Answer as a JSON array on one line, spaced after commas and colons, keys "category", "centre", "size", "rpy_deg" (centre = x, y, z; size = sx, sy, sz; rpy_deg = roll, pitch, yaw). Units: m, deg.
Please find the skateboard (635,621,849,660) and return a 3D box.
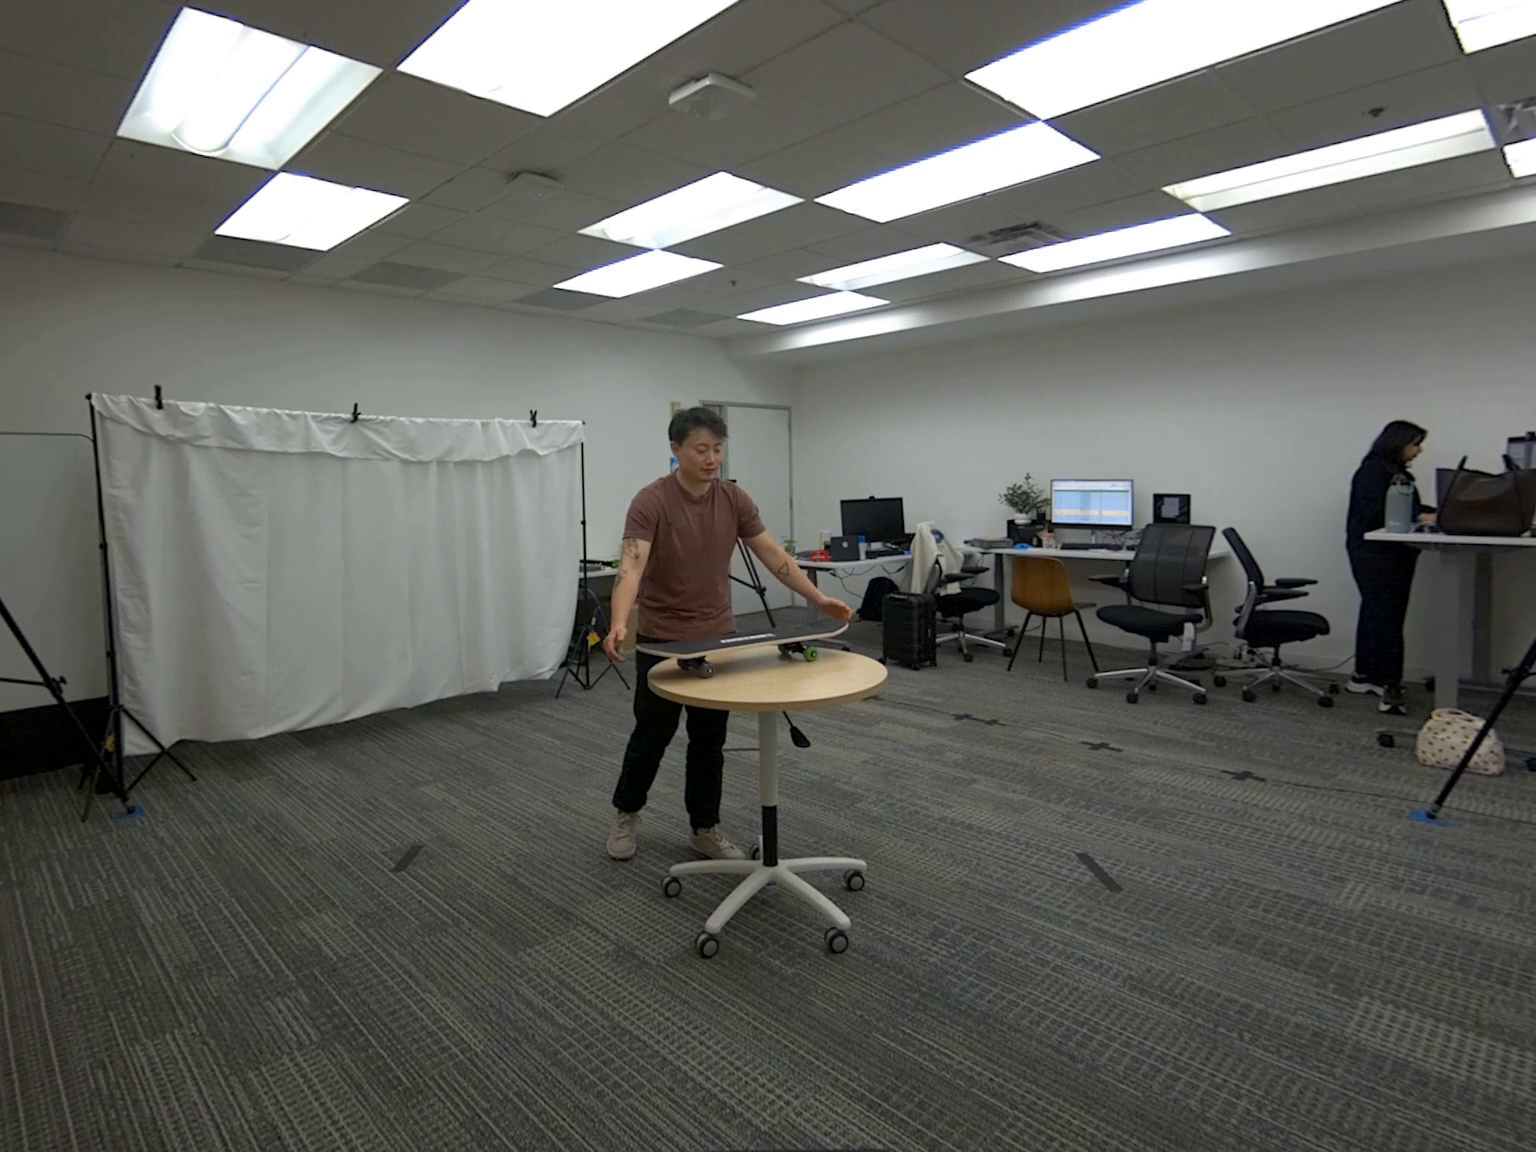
[{"category": "skateboard", "centre": [-0.068, 0.240, 2.845], "size": [0.768, 0.110, 0.199], "rpy_deg": [-5, 9, -29]}]
